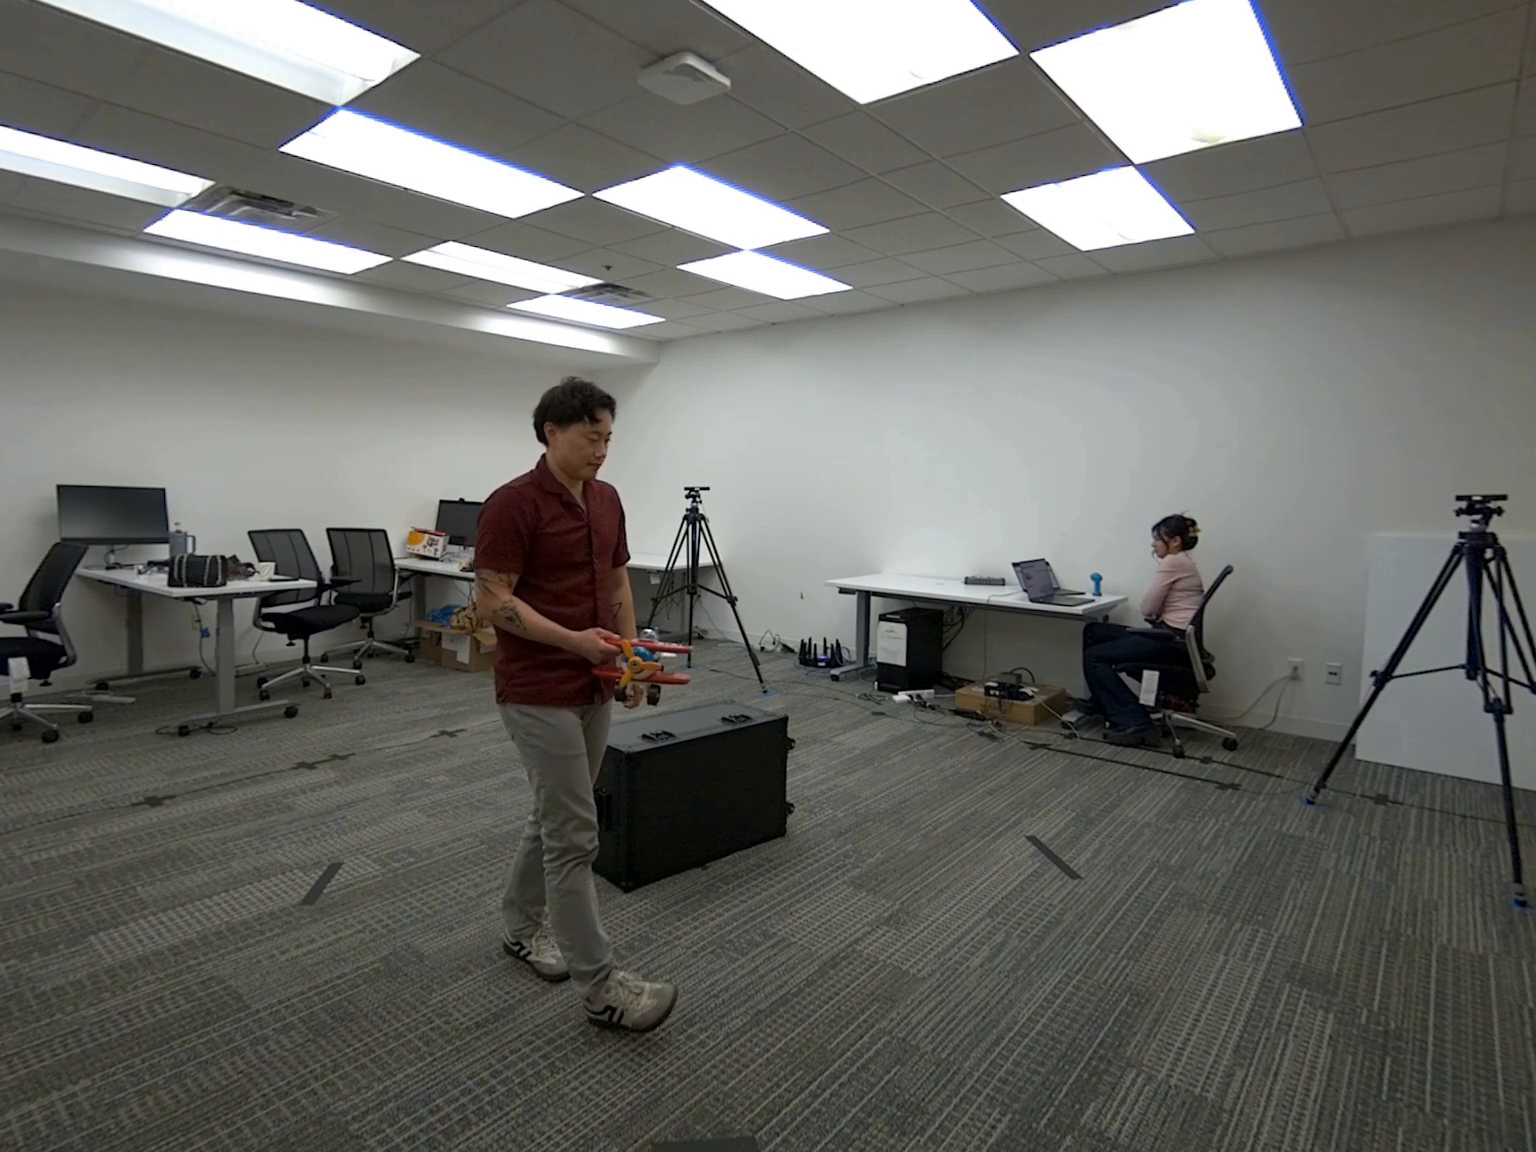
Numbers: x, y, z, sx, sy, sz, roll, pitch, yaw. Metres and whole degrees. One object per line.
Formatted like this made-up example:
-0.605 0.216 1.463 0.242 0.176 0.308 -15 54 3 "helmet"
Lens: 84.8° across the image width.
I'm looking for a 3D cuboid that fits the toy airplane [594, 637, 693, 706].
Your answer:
-0.348 0.222 2.227 0.246 0.154 0.268 -4 19 -22 "toy airplane"
